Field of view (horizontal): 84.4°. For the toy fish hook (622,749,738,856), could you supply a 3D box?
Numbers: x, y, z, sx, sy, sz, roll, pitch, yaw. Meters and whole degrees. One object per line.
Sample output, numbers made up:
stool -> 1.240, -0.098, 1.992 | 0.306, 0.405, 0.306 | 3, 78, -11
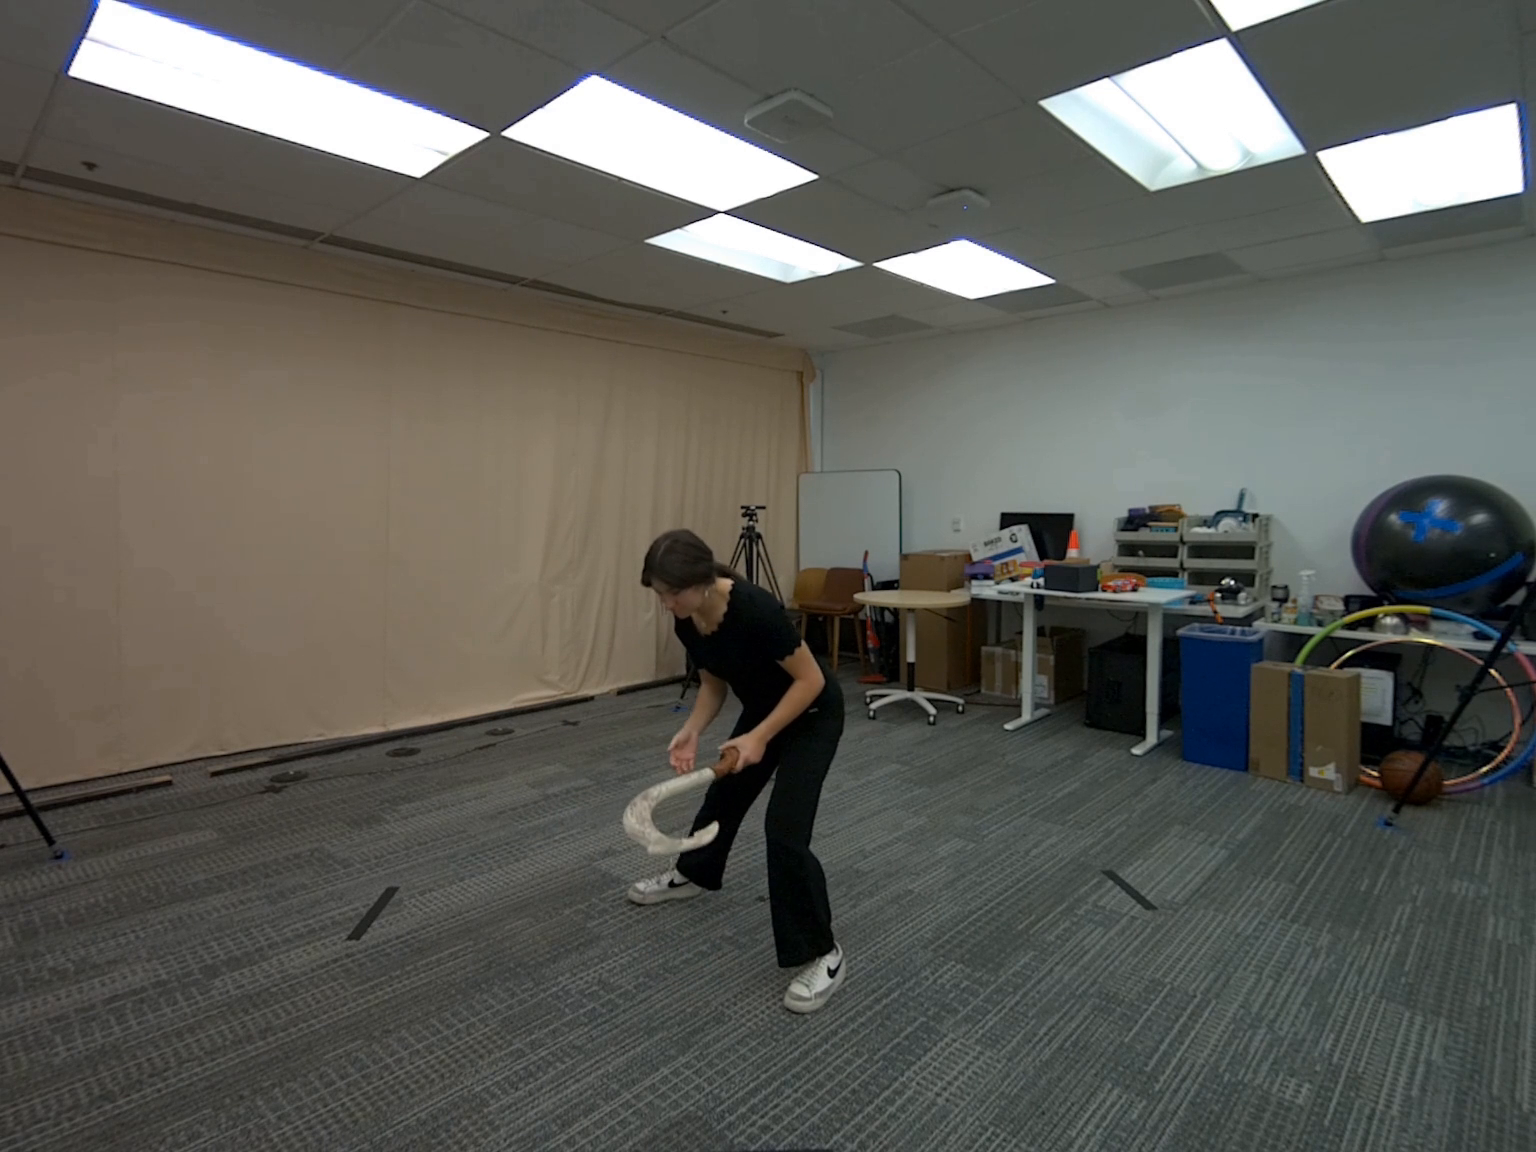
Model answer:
toy fish hook -> -0.141, 0.572, 2.229 | 0.232, 0.048, 0.496 | 31, 38, 29
